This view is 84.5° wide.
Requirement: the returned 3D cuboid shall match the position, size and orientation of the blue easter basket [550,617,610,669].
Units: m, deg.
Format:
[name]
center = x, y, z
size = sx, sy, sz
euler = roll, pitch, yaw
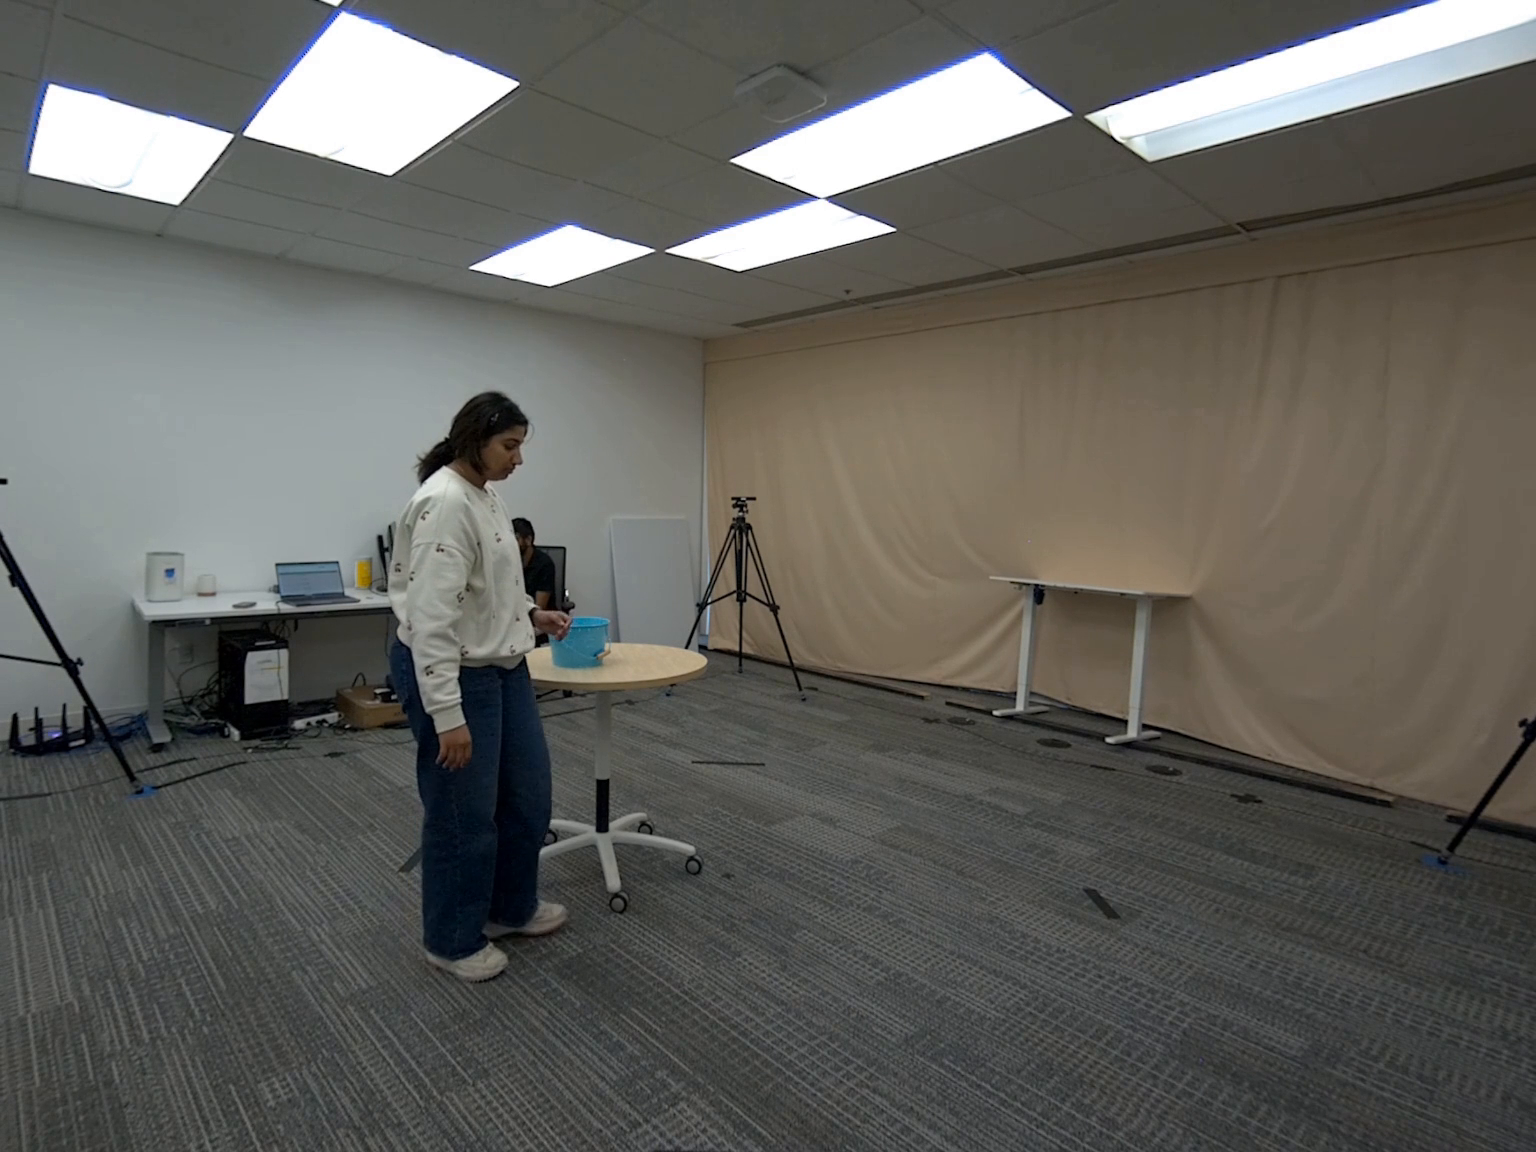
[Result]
[blue easter basket]
center = -0.702, 0.247, 3.039
size = 0.243, 0.155, 0.244
euler = 0, 4, -1
